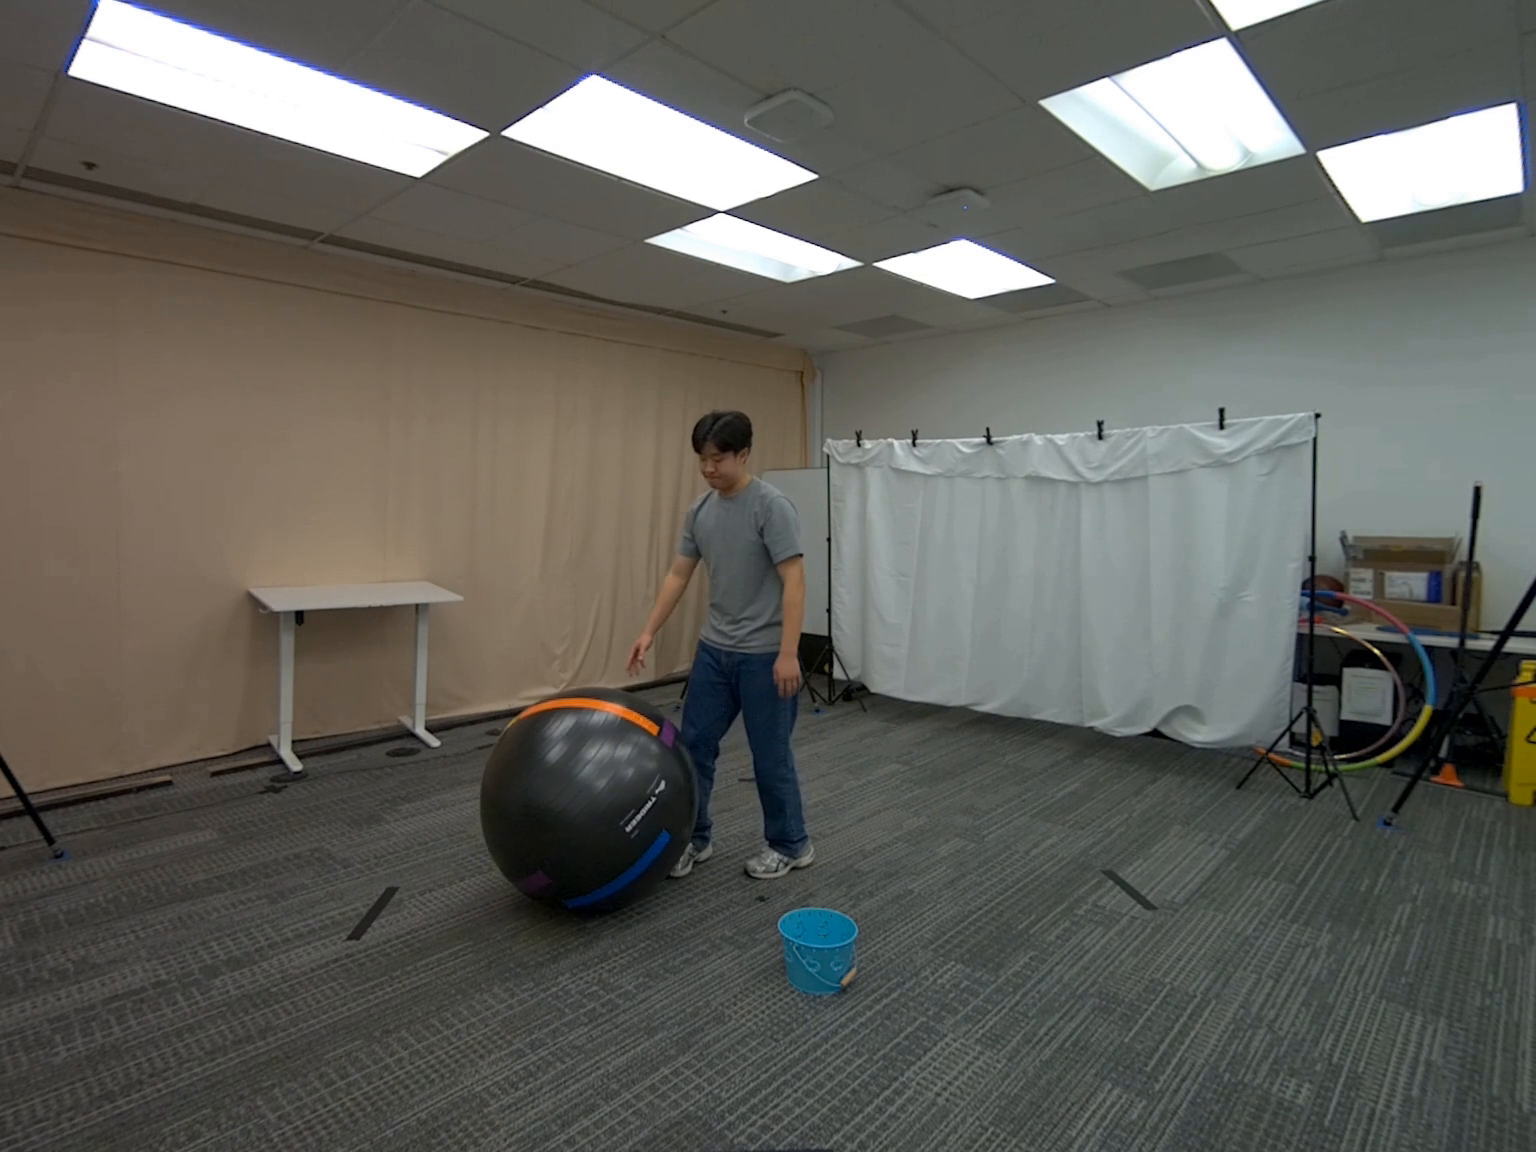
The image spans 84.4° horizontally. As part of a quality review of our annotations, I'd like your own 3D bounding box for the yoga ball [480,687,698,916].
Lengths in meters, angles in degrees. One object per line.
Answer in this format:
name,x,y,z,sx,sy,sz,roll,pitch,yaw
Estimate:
yoga ball,-0.639,0.783,2.967,0.757,0.756,0.760,0,4,-2
